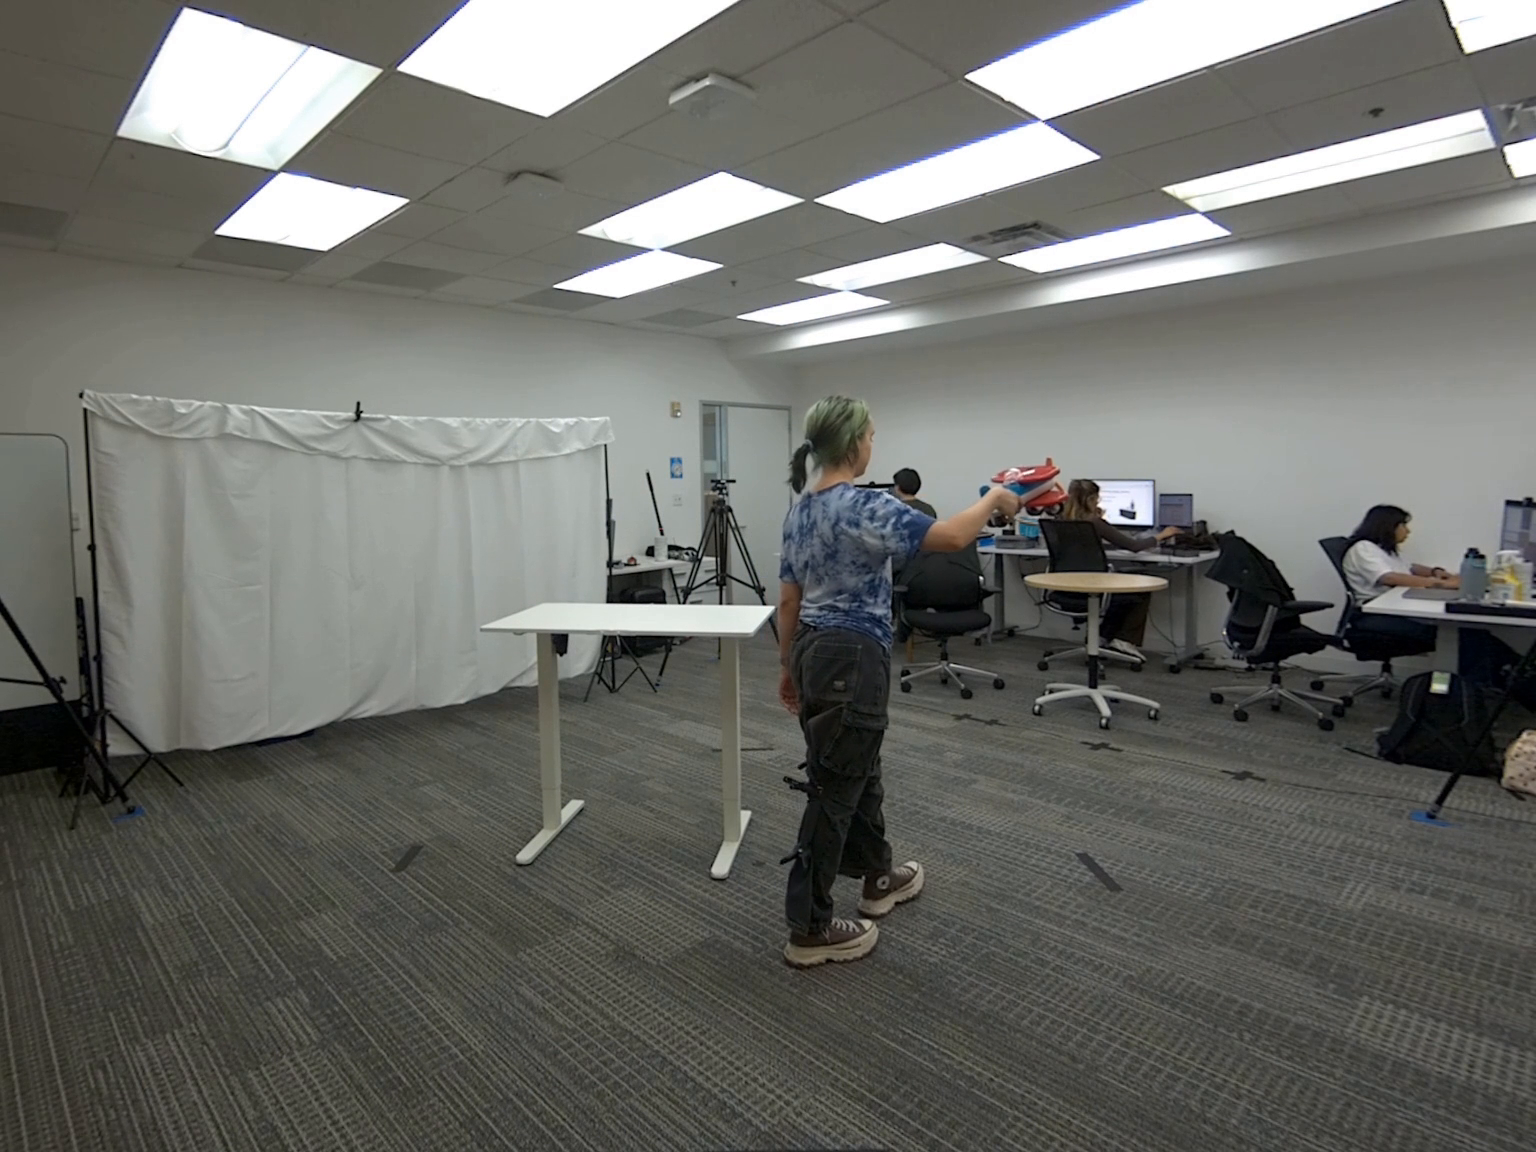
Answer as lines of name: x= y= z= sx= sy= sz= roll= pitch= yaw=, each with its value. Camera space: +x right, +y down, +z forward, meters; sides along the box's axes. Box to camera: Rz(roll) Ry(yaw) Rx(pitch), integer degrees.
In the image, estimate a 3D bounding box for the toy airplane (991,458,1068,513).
toy airplane: x=0.751 y=-0.236 z=2.504 sx=0.258 sy=0.155 sz=0.254 roll=-4 pitch=10 yaw=43
